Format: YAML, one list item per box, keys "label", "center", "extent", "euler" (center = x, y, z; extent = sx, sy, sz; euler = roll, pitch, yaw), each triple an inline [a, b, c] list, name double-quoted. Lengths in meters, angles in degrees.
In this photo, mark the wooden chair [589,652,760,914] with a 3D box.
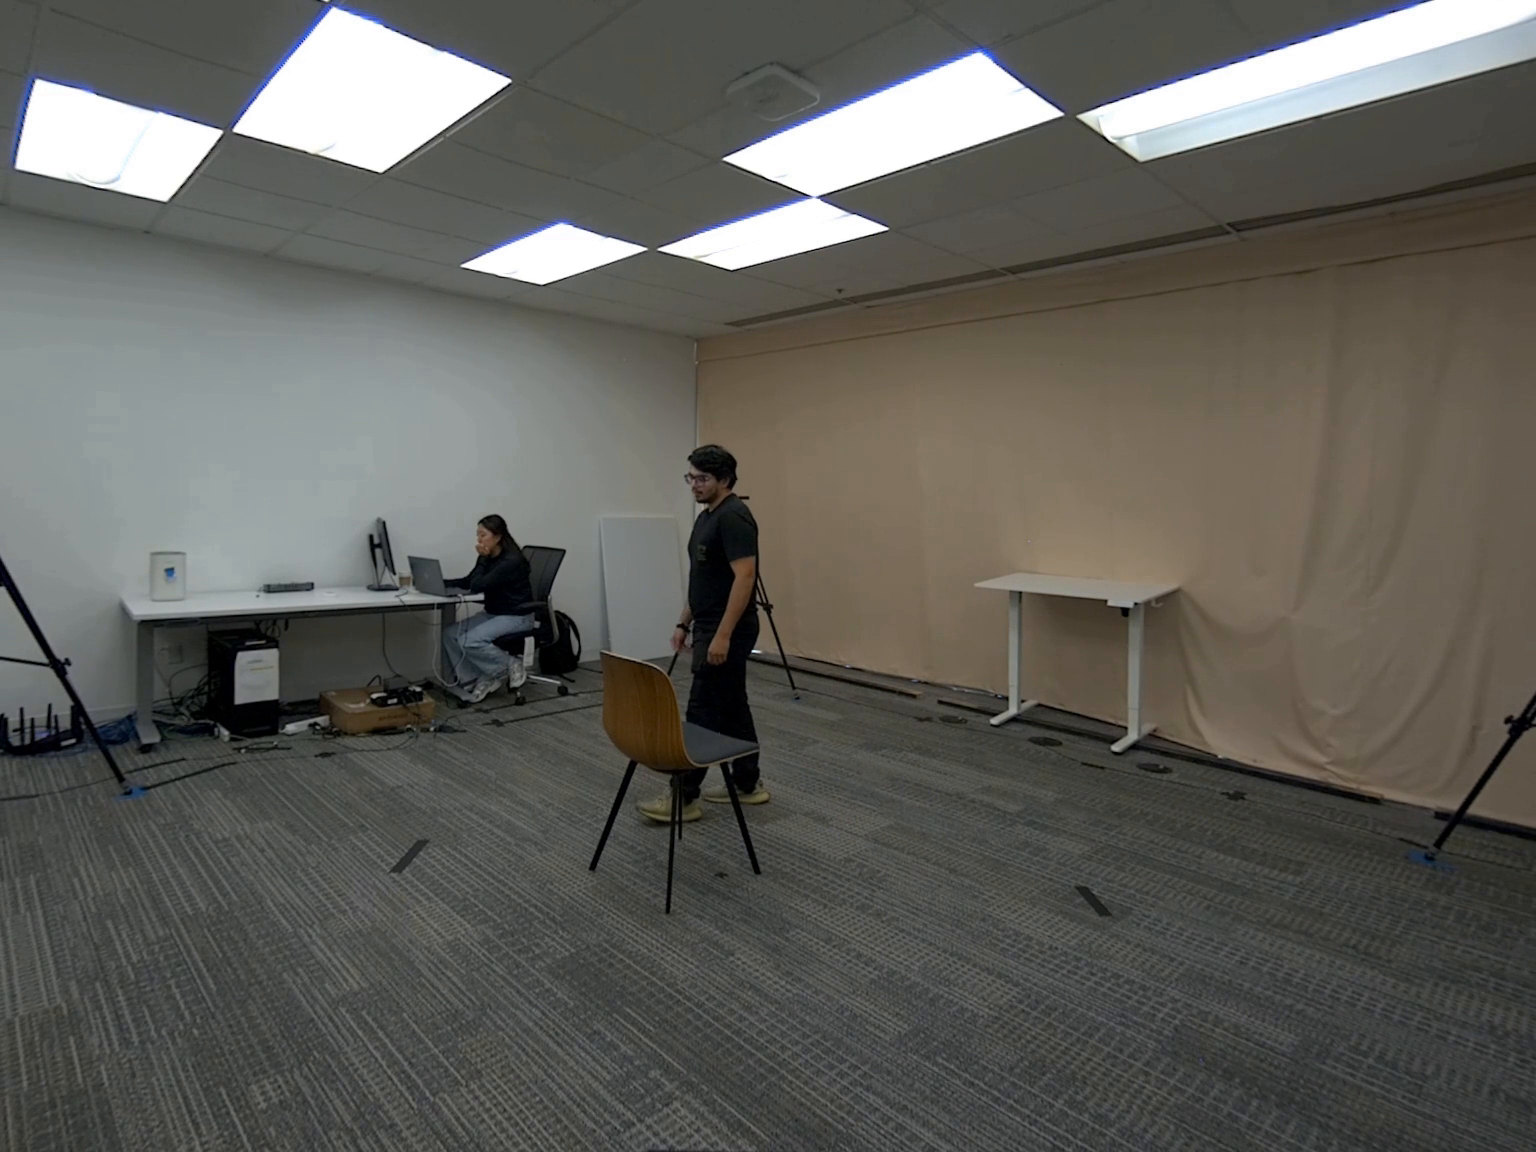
- label: "wooden chair"
  center: [-0.335, 0.671, 3.094]
  extent: [0.490, 0.873, 0.512]
  euler: [4, 9, 44]
